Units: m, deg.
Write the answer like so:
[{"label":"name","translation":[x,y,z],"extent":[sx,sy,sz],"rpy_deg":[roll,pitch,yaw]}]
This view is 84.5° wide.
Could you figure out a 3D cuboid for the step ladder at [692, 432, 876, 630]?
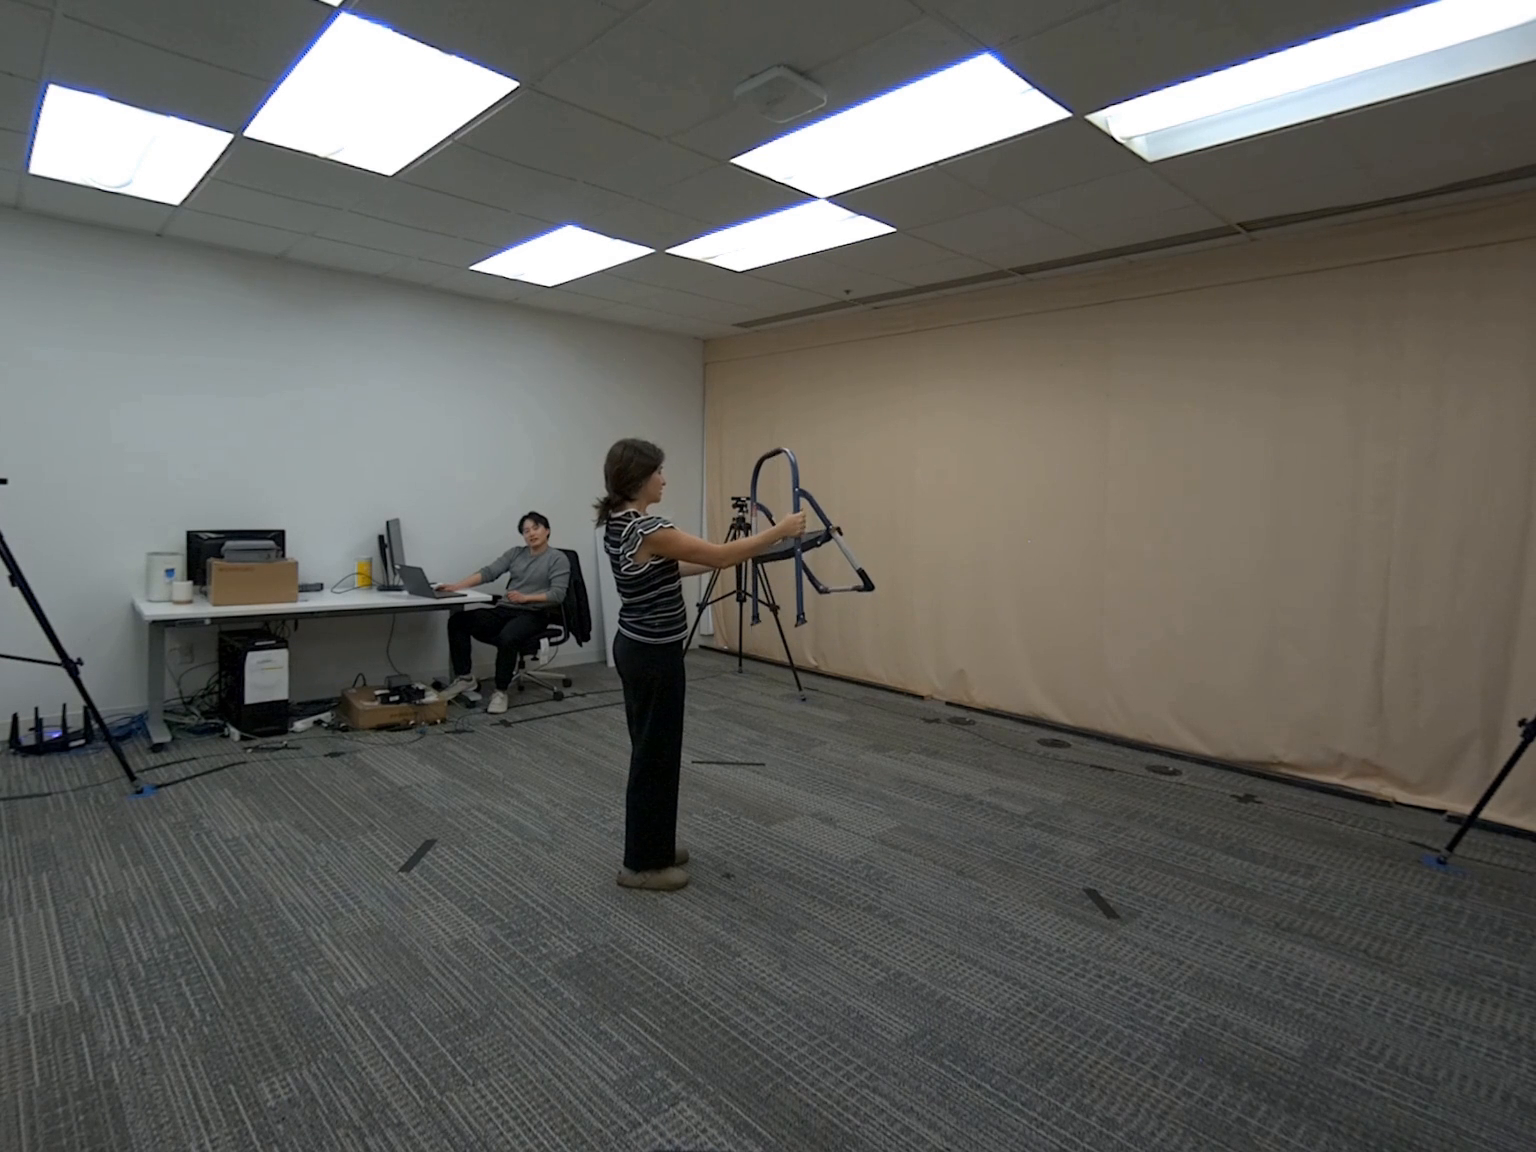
[{"label":"step ladder","translation":[0.044,-0.153,3.145],"extent":[0.346,0.604,0.436],"rpy_deg":[-22,4,-22]}]
